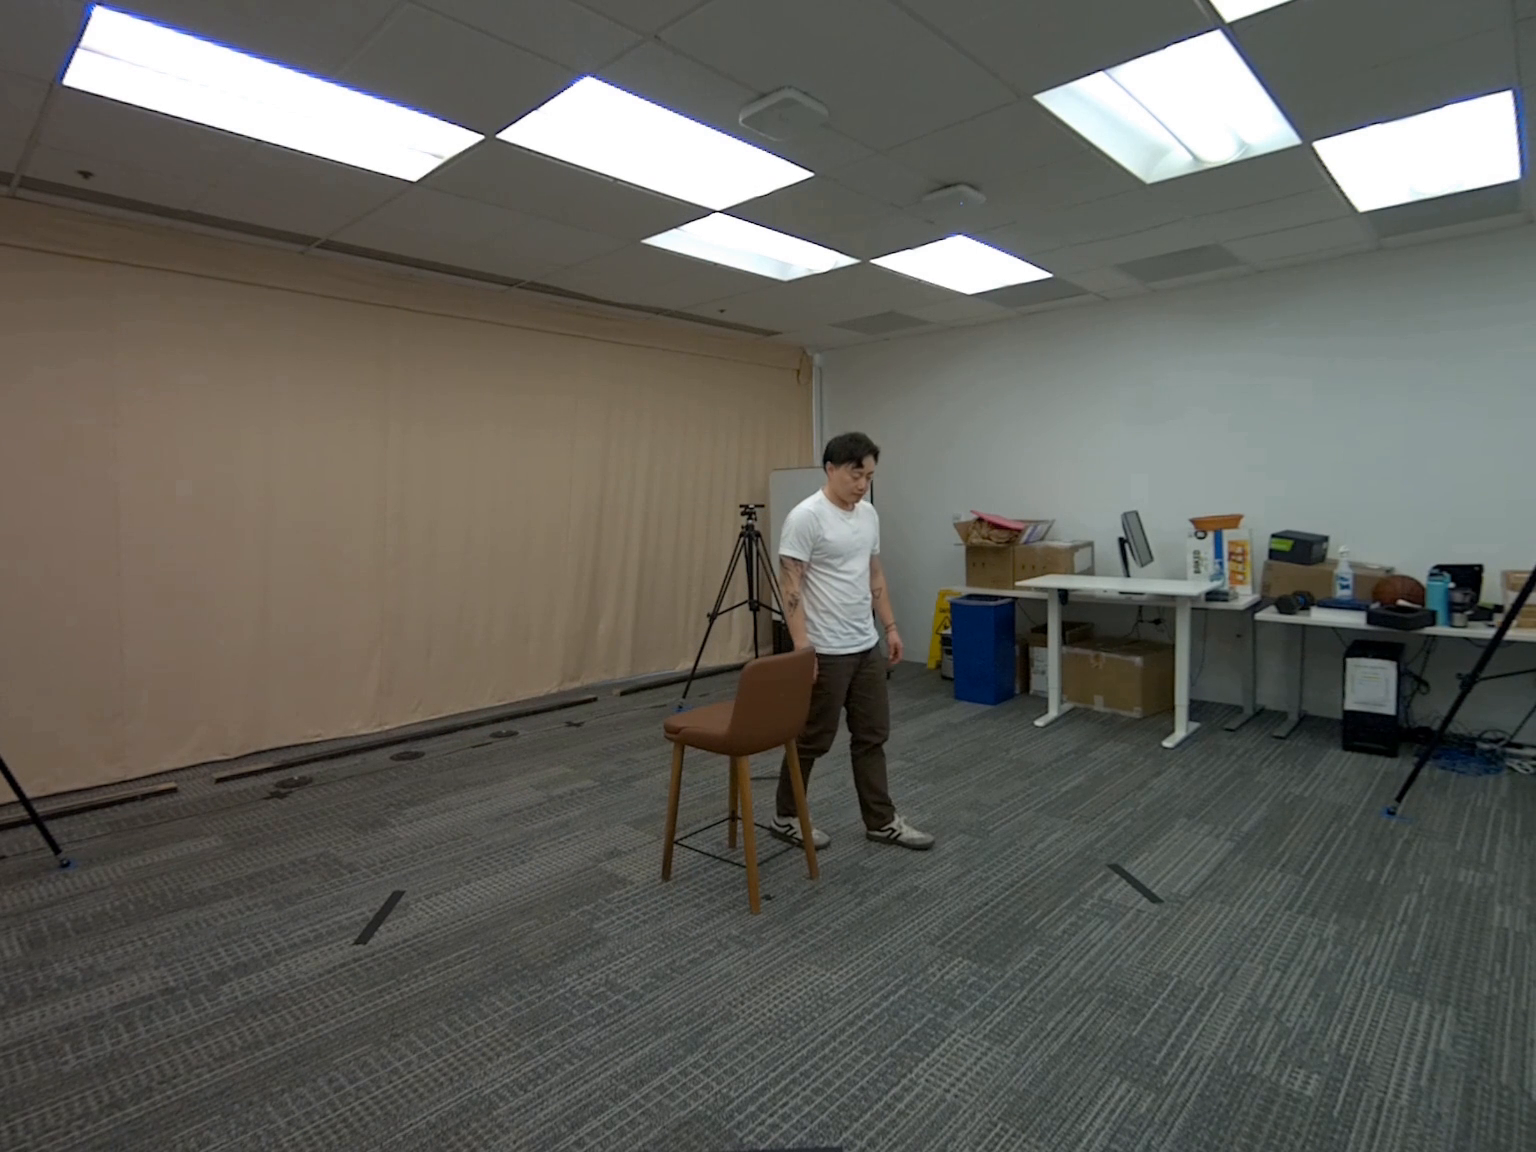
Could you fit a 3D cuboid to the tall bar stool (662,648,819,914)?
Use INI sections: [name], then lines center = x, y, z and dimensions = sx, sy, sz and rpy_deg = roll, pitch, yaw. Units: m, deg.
[tall bar stool]
center = -0.104, 0.694, 3.114
dimensions = 0.483, 0.887, 0.443
rpy_deg = 4, 6, 40
